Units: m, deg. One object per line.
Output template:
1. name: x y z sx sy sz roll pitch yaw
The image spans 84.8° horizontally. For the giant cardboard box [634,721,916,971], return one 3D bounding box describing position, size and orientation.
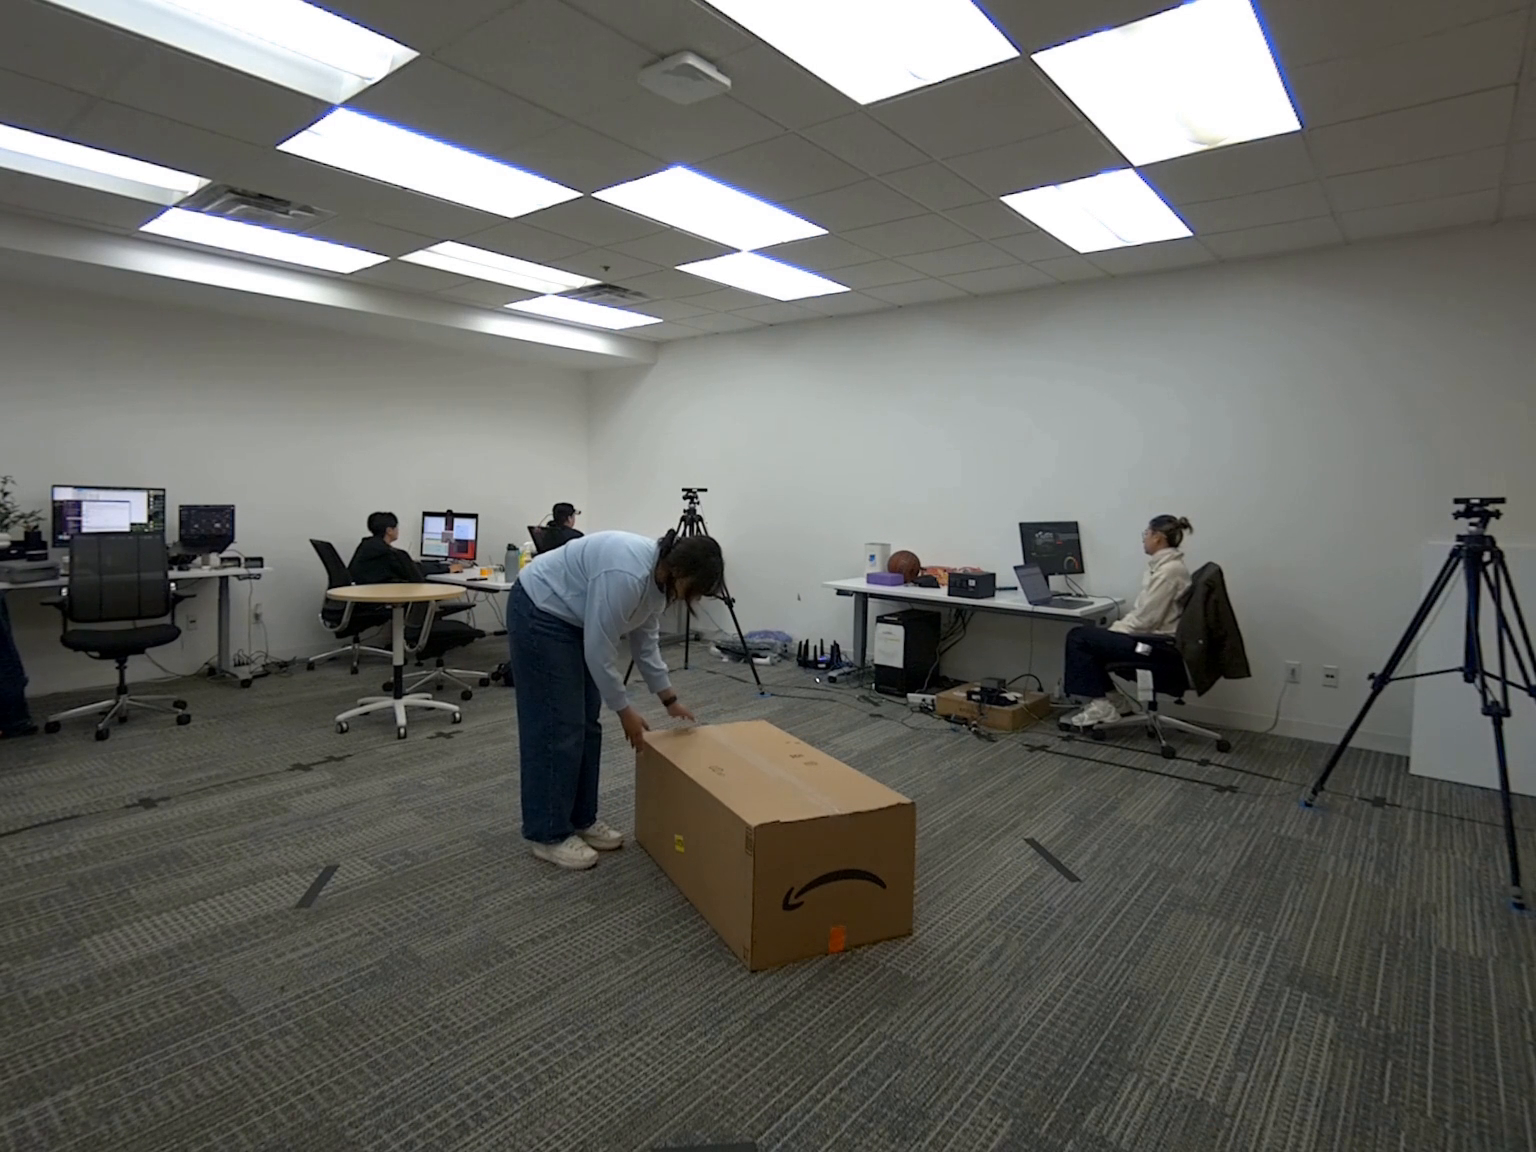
1. giant cardboard box: -0.035 0.868 3.009 0.563 0.425 1.055 -1 6 -27
